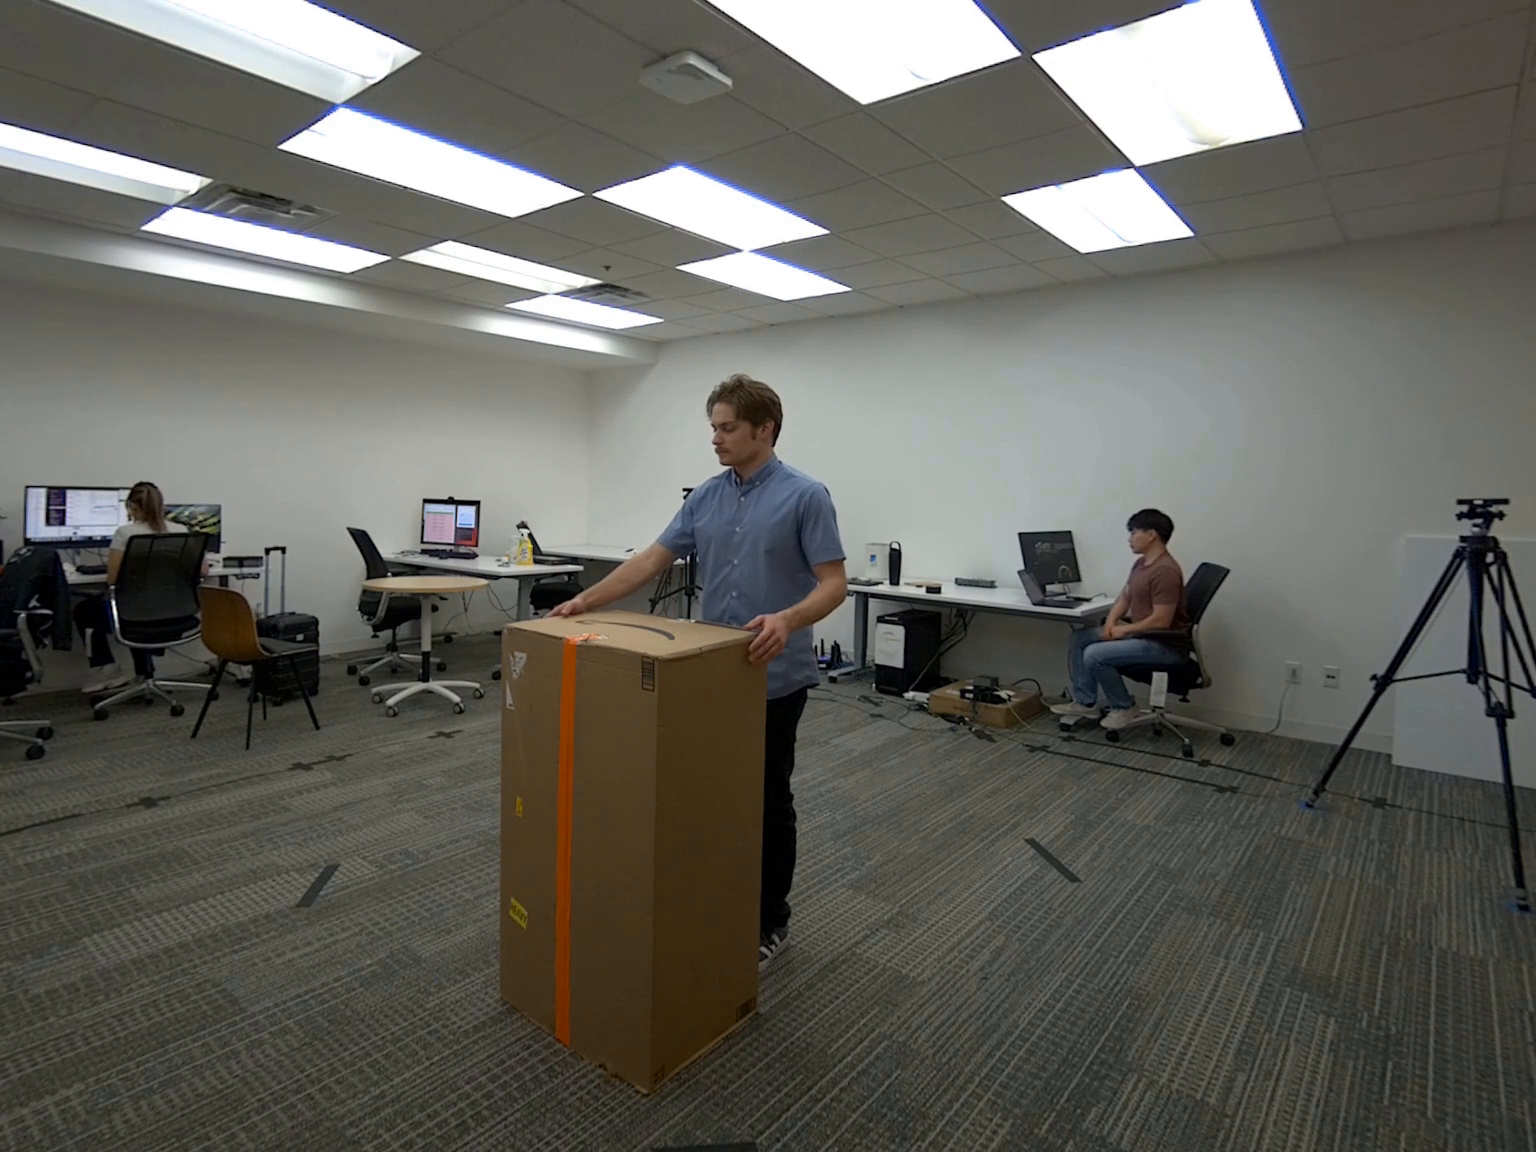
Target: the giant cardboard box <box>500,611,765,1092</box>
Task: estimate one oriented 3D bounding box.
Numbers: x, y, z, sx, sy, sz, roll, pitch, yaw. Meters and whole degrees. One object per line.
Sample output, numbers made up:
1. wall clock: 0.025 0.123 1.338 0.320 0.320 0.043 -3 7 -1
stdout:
1. giant cardboard box: -0.375 0.645 2.246 0.597 1.022 0.414 5 5 38
